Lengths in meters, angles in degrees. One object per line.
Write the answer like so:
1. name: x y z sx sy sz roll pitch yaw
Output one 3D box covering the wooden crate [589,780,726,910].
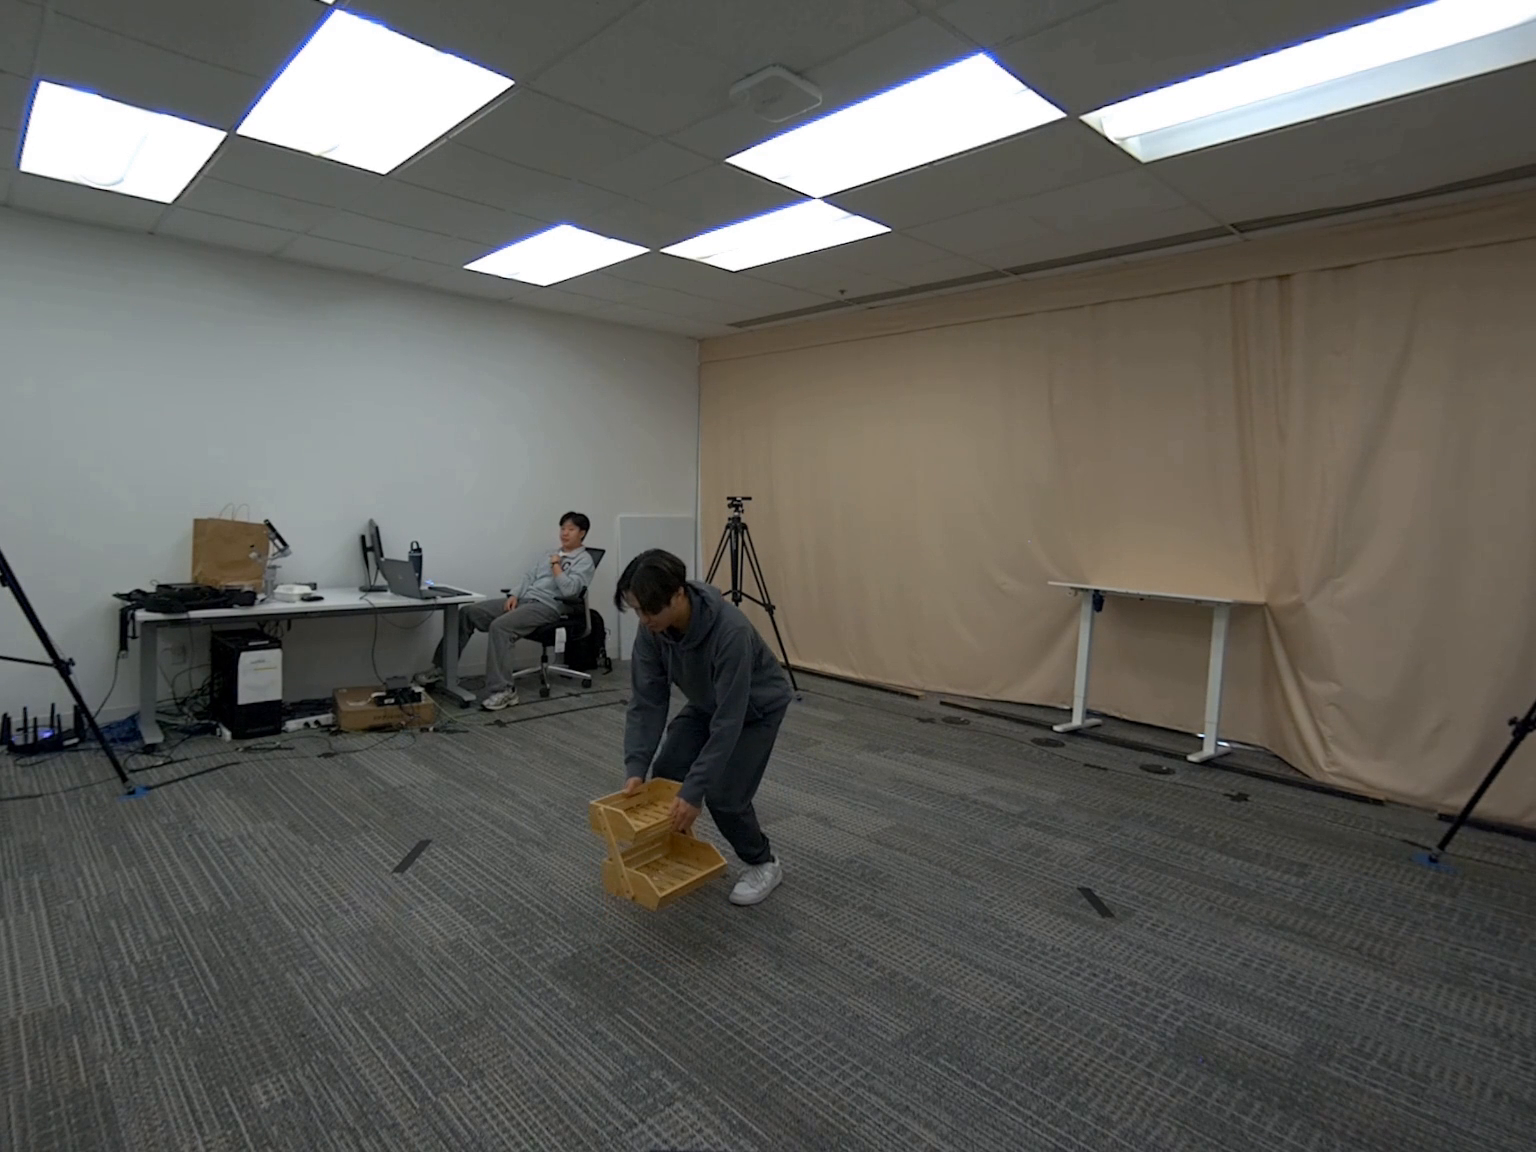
1. wooden crate: -0.349 0.822 2.618 0.309 0.273 0.317 0 4 38
